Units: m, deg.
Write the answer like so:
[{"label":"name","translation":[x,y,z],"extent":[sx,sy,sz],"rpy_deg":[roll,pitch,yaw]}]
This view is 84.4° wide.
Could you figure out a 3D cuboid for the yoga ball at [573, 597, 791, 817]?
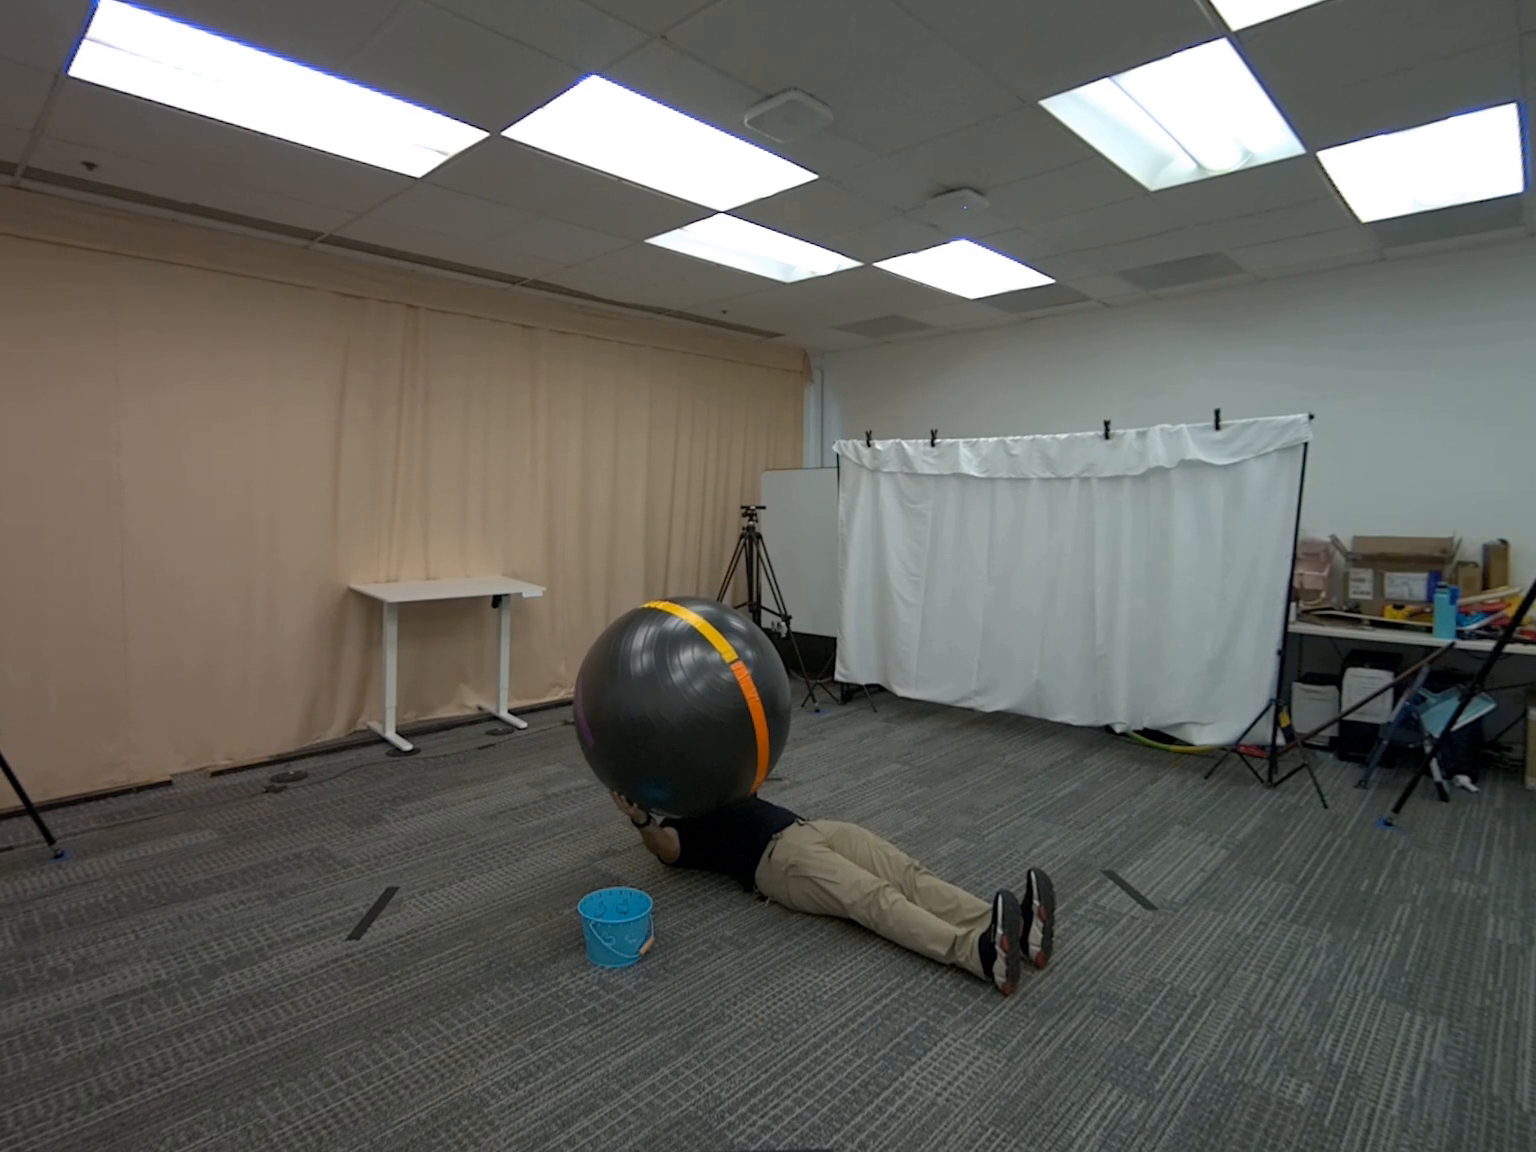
[{"label":"yoga ball","translation":[-0.301,0.454,2.942],"extent":[0.757,0.756,0.761],"rpy_deg":[0,4,-2]}]
